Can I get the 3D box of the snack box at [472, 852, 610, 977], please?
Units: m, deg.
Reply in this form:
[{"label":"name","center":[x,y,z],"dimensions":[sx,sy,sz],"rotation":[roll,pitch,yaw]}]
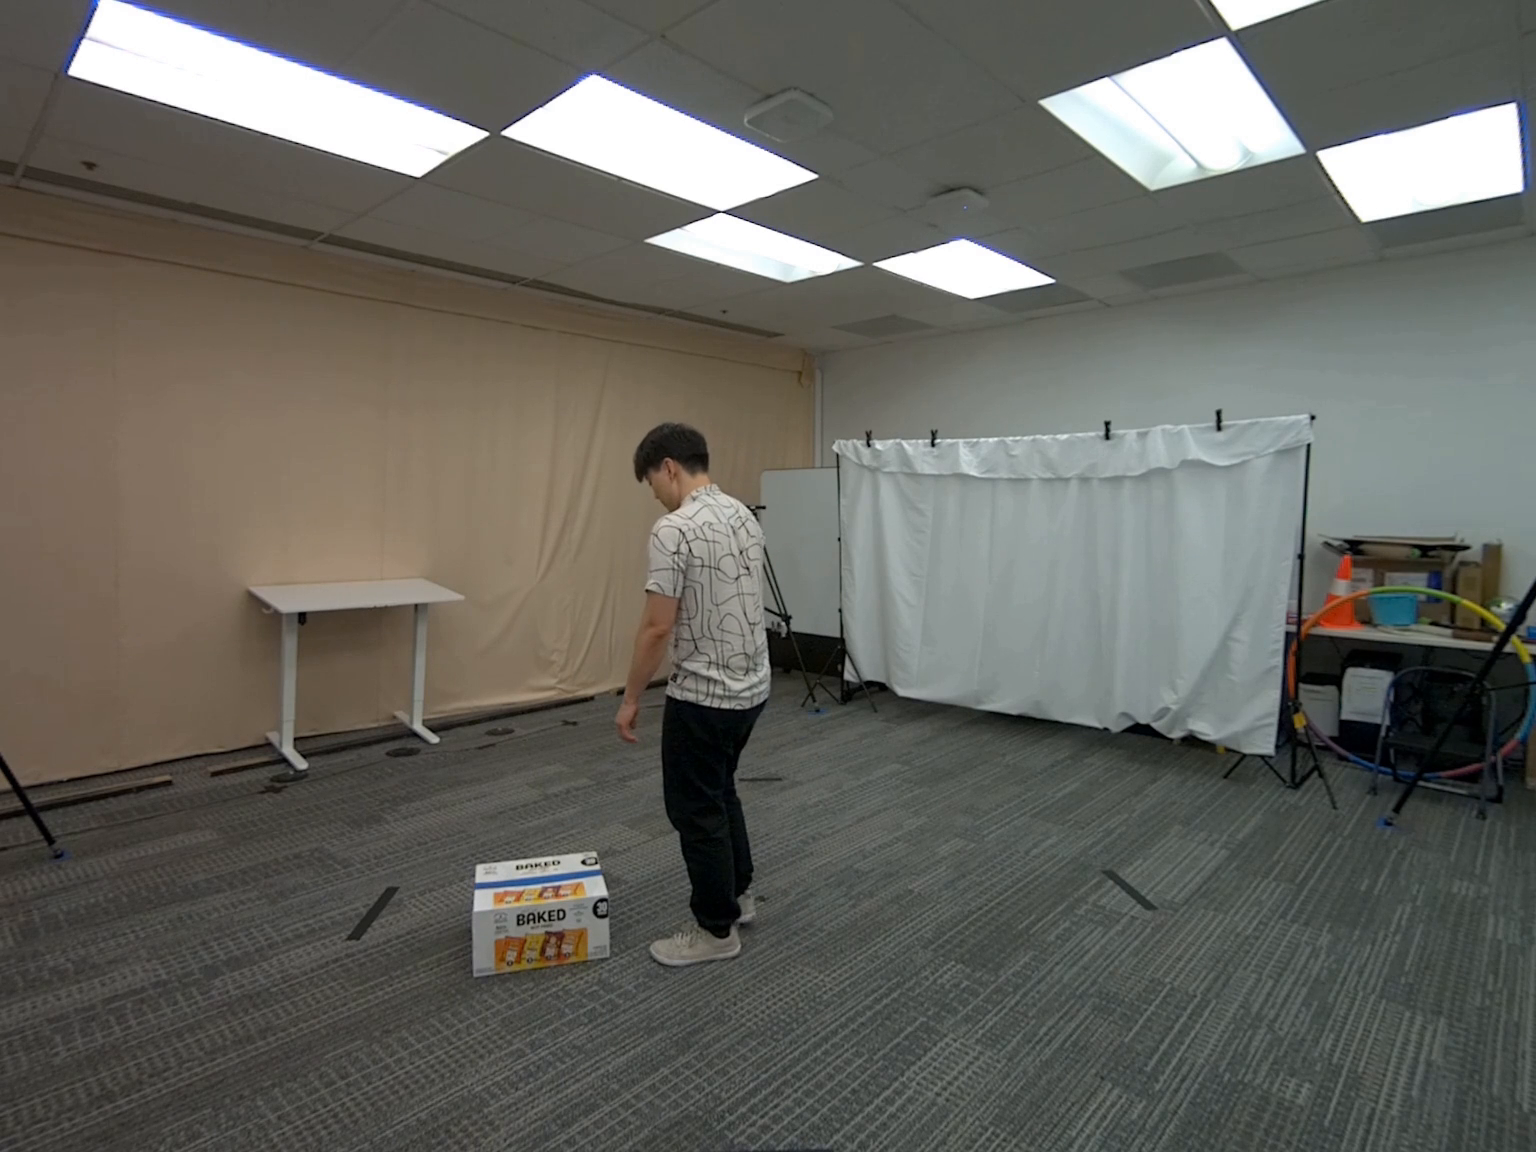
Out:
[{"label":"snack box","center":[-0.735,1.076,2.698],"dimensions":[0.399,0.205,0.346],"rotation":[-2,5,-15]}]
